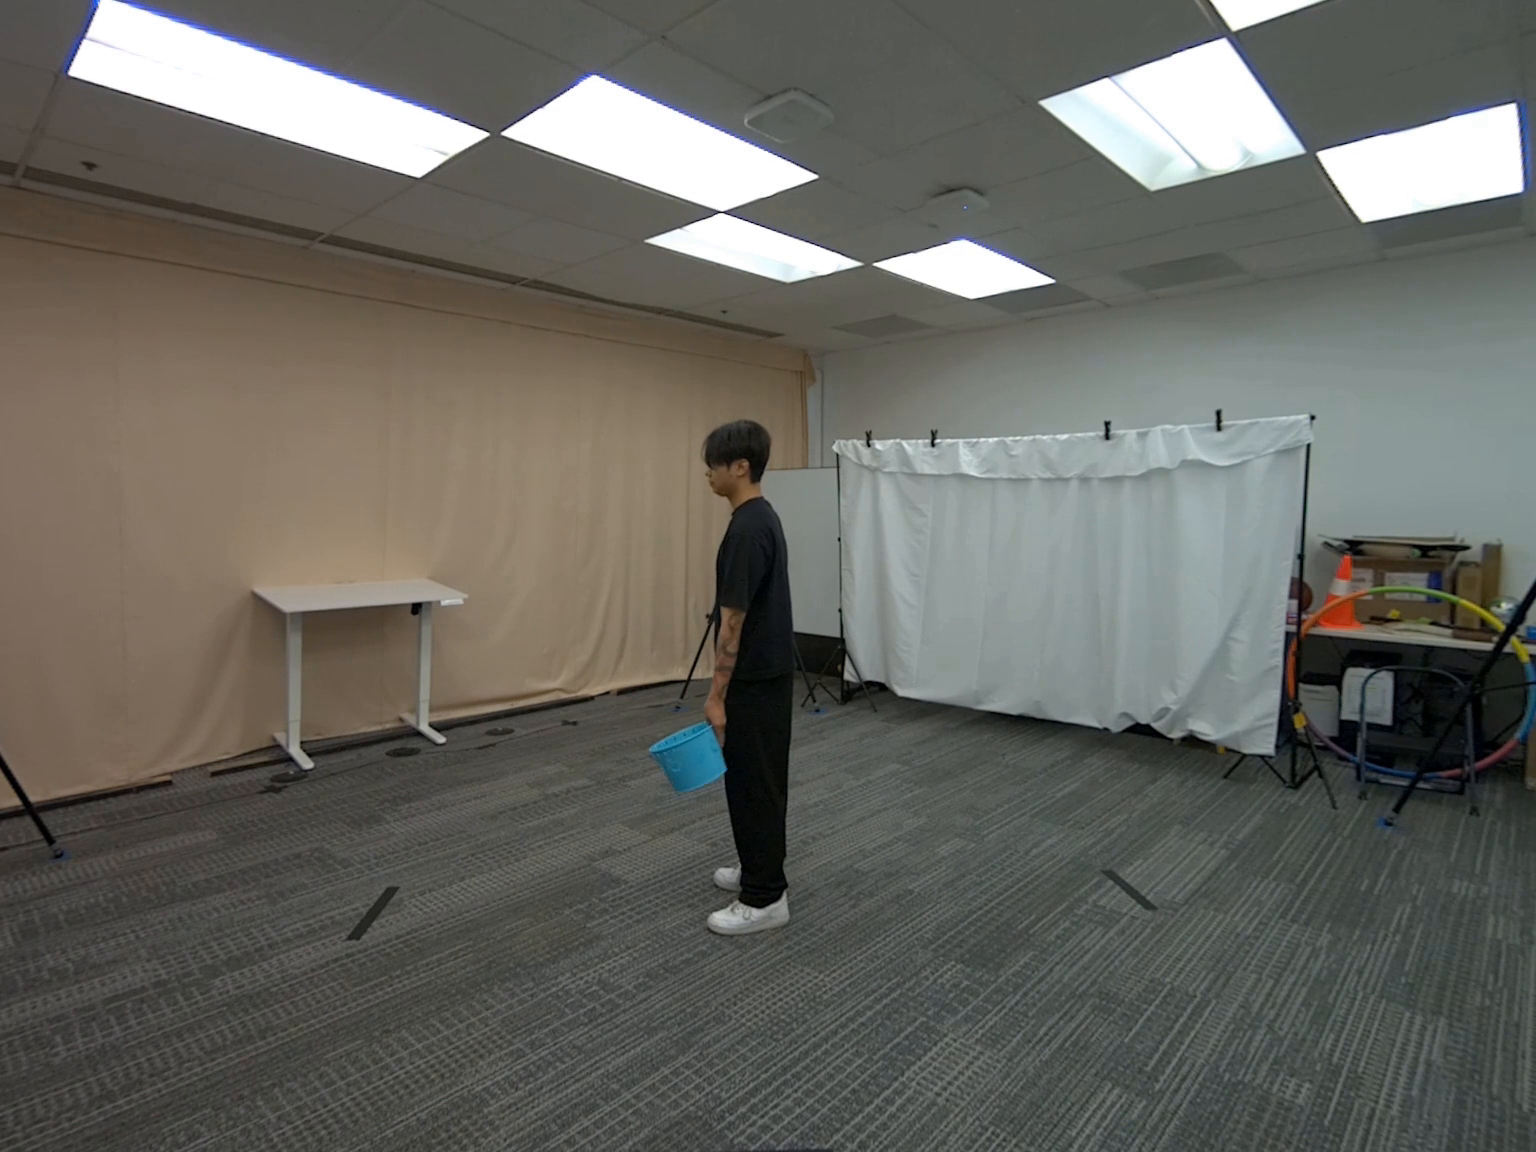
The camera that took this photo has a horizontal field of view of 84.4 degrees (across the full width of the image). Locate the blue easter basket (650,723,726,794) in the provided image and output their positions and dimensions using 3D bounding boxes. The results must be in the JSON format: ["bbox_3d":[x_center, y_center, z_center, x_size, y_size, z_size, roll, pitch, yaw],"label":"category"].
[{"bbox_3d":[-0.235,0.566,2.677,0.243,0.156,0.244,-23,0,-2],"label":"blue easter basket"}]
